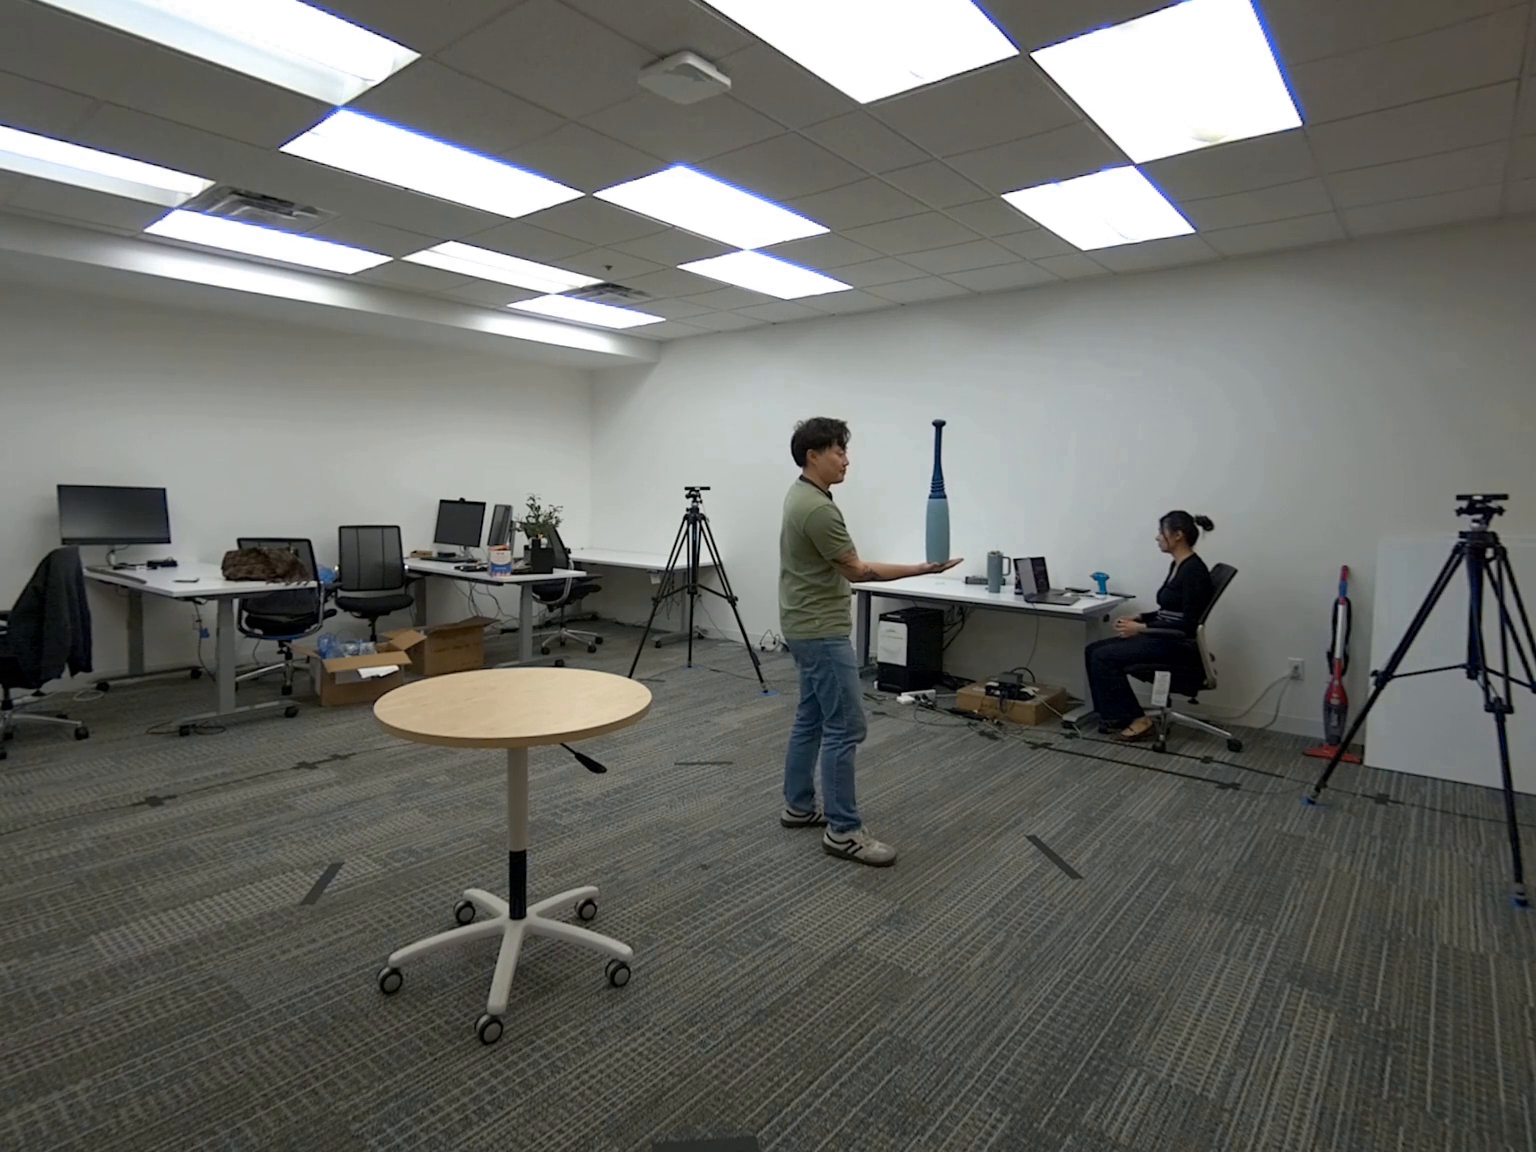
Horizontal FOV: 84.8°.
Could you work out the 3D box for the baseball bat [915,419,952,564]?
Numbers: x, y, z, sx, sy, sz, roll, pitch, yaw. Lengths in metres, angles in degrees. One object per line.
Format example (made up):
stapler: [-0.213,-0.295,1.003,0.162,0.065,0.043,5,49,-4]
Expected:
baseball bat: [0.618,-0.311,3.157,0.089,0.541,0.089,2,3,-2]
